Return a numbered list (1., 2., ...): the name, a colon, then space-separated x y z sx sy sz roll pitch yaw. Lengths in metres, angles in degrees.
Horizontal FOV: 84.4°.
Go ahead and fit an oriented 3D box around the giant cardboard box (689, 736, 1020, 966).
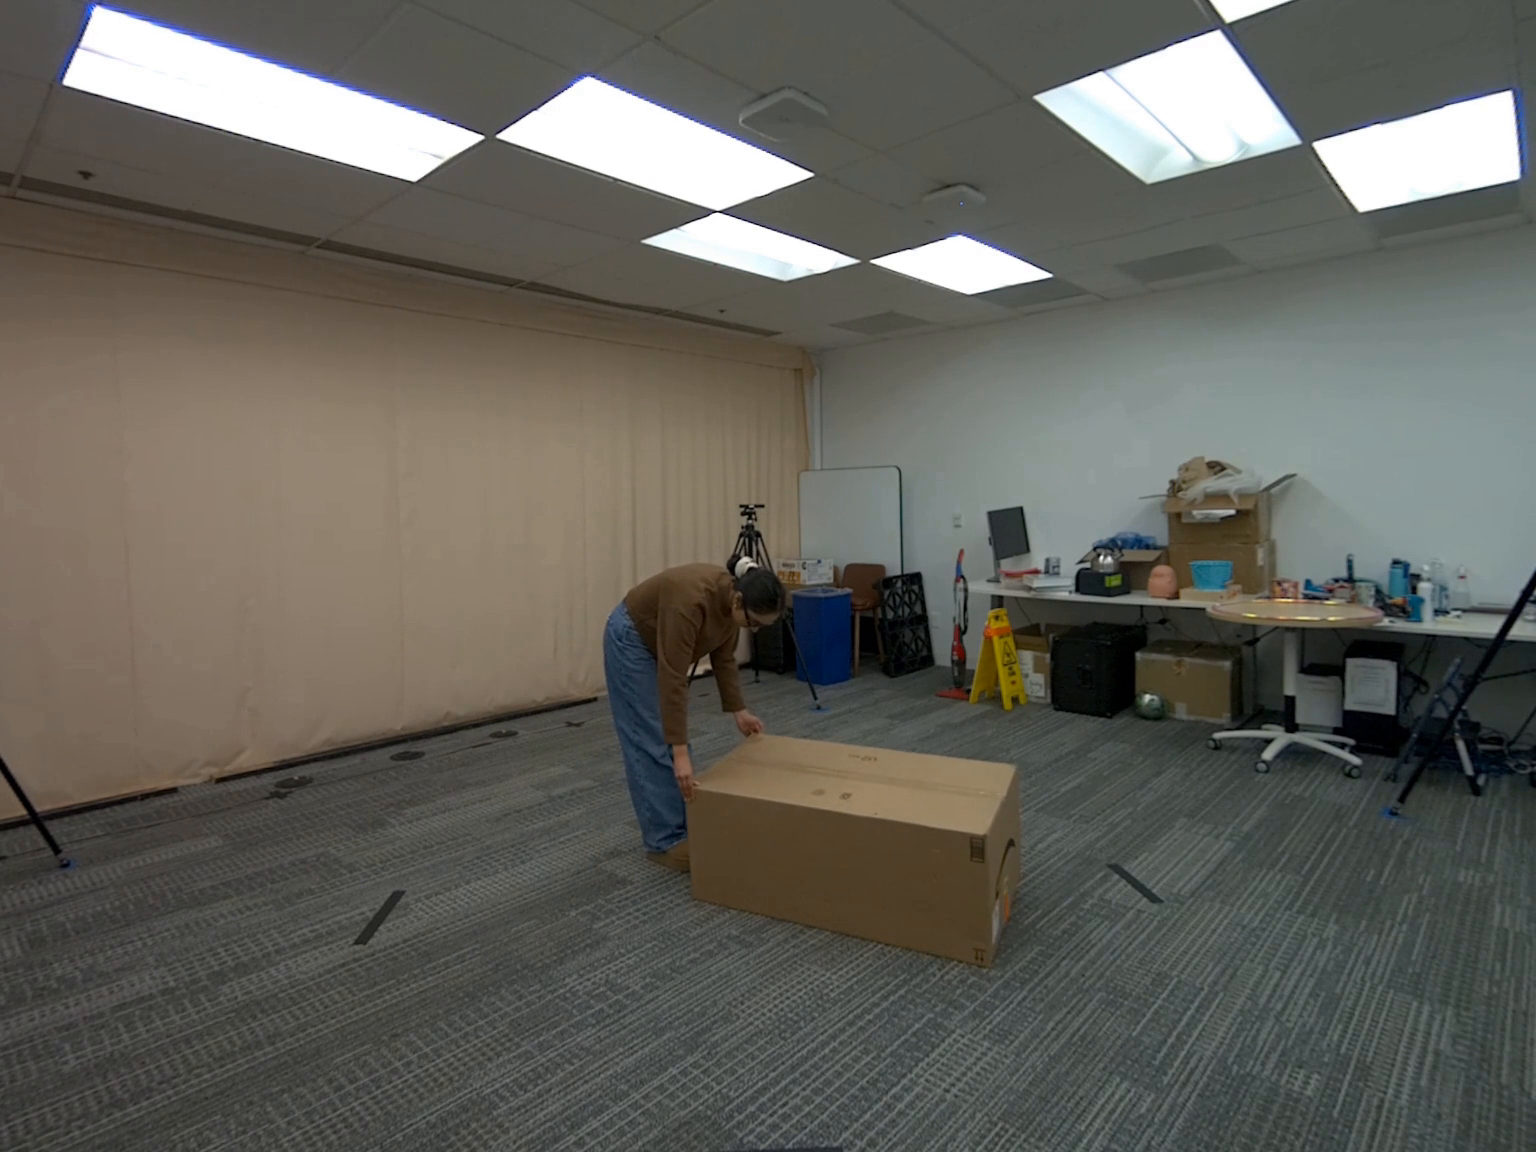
1. giant cardboard box: 0.313 0.906 2.963 1.055 0.445 0.571 2 8 27
